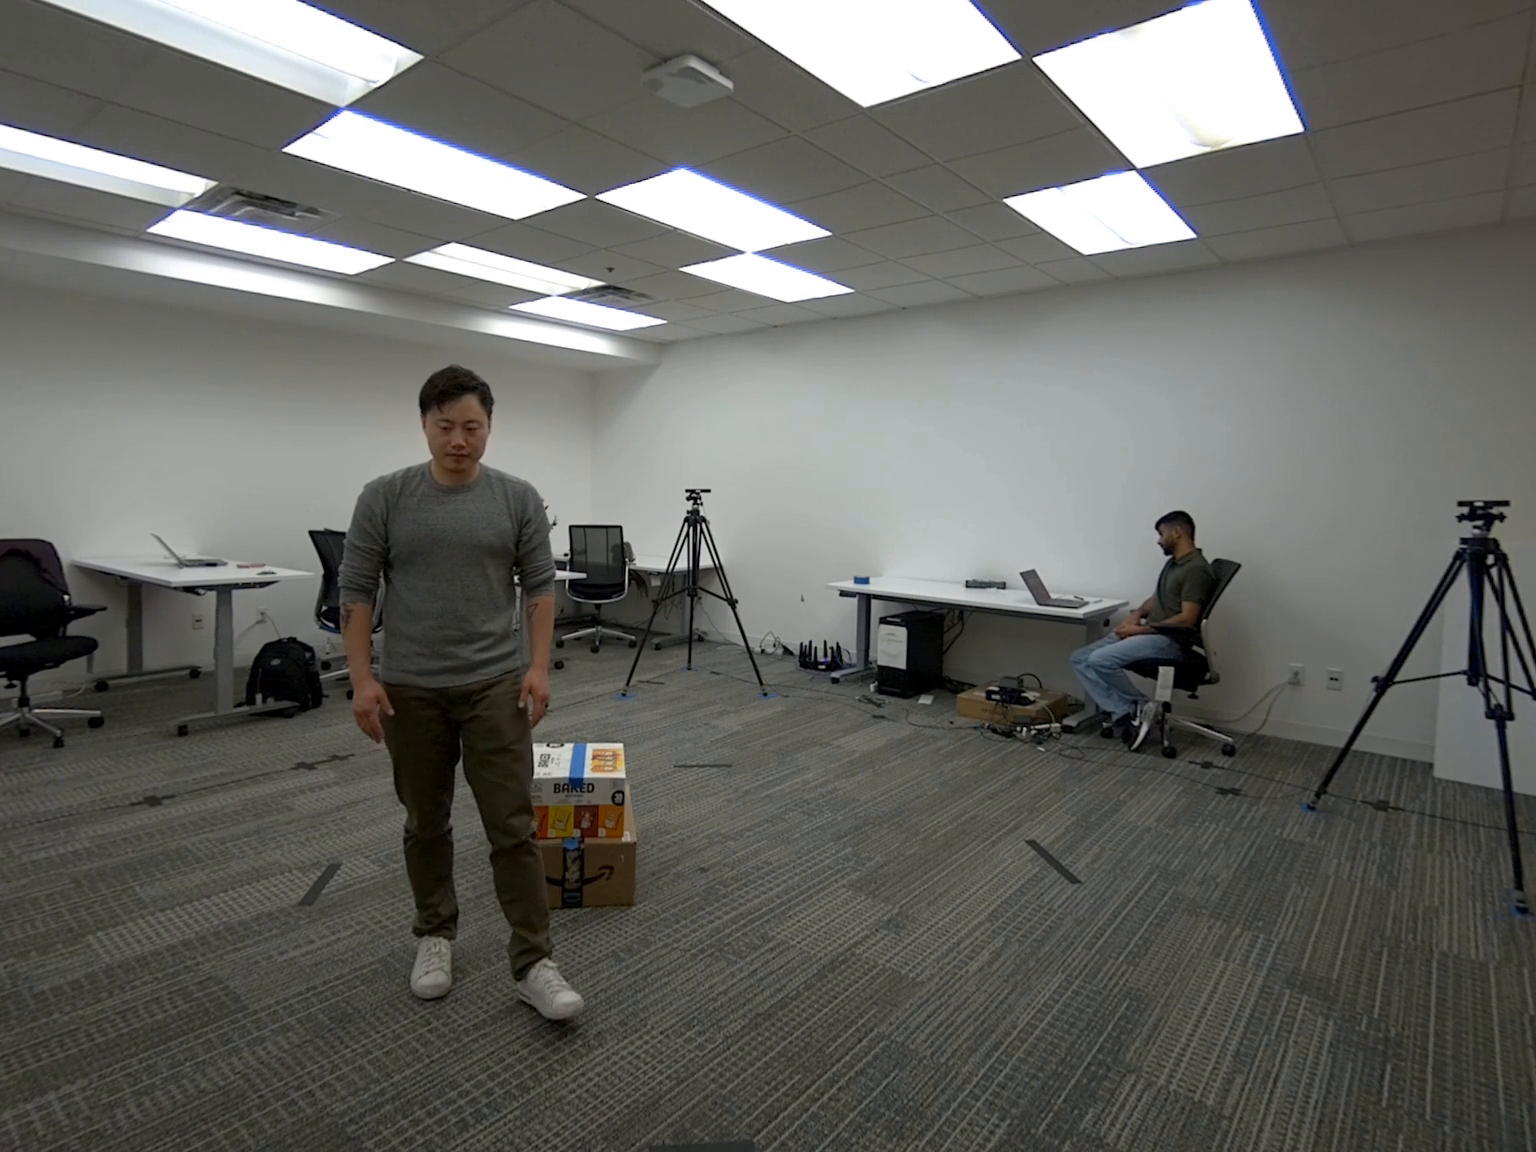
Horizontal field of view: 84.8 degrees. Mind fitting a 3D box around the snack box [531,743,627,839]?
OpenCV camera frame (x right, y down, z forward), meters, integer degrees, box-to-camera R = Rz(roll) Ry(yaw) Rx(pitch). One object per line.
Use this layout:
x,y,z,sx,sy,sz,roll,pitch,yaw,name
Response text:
-0.697,0.756,3.035,0.337,0.205,0.410,2,5,-10,snack box
